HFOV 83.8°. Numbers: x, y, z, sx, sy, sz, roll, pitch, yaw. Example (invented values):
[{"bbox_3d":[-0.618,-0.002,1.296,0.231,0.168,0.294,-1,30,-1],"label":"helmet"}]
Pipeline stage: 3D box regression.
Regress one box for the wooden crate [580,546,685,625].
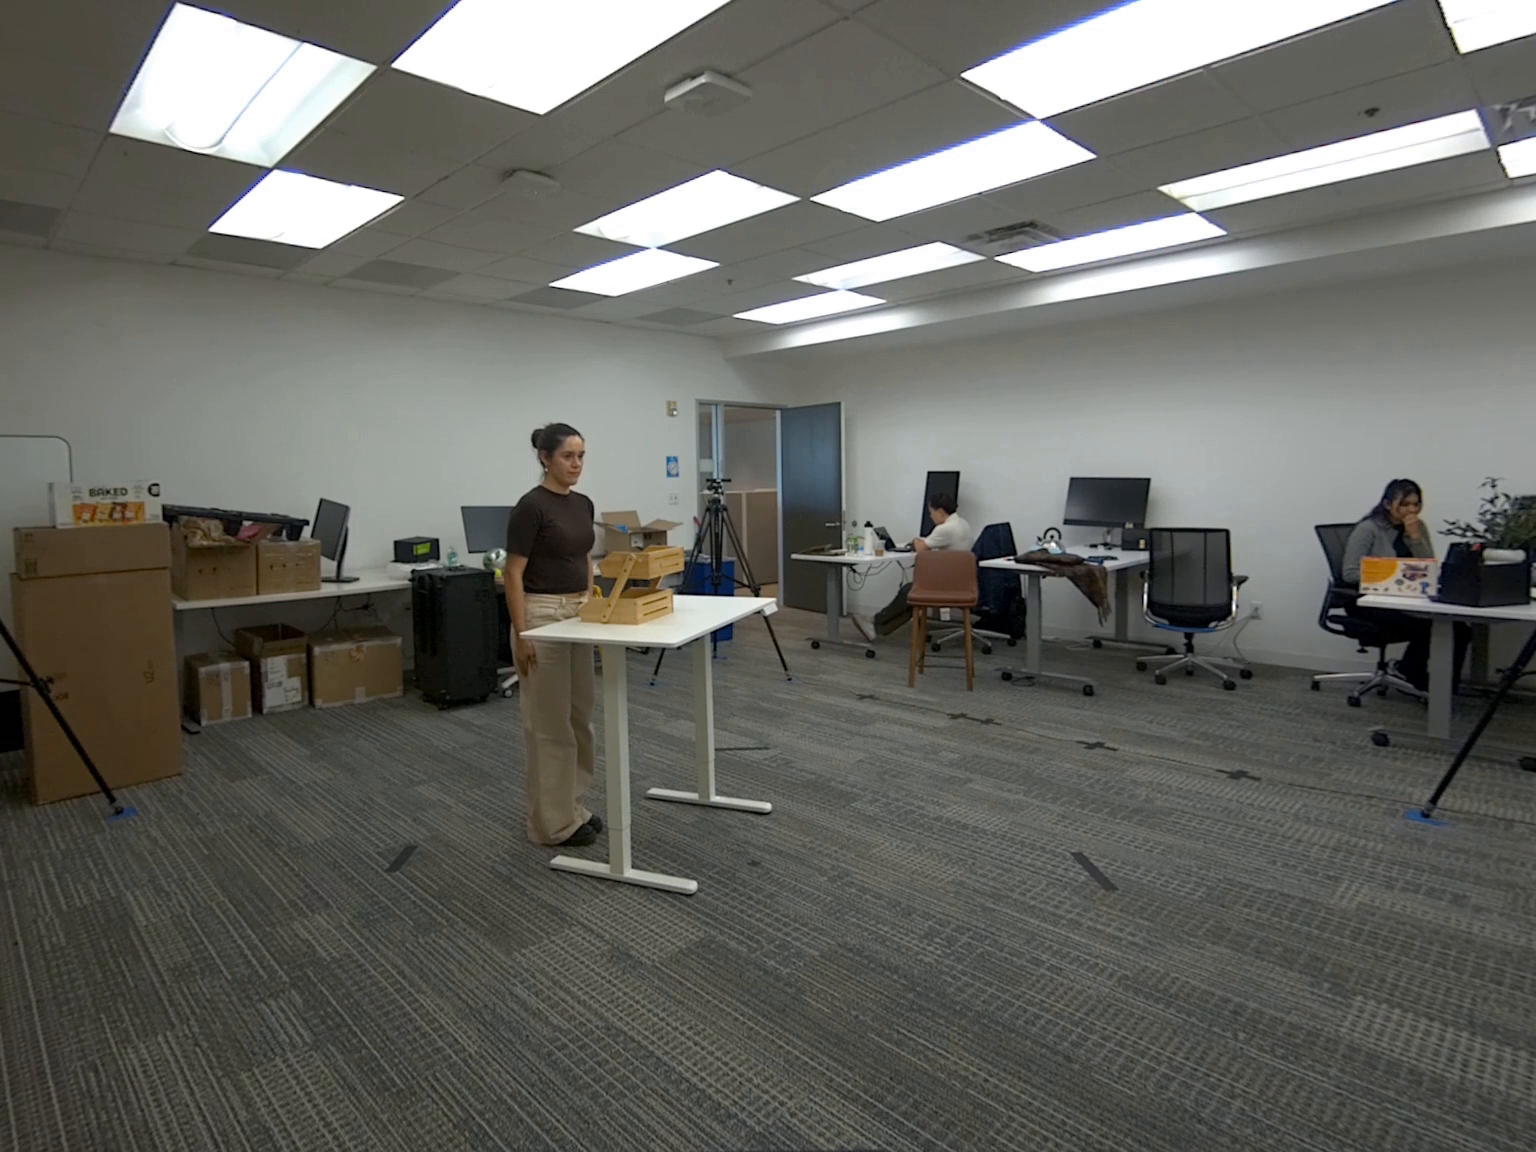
[{"bbox_3d":[-0.515,0.026,3.226,0.308,0.272,0.319,1,6,21],"label":"wooden crate"}]
